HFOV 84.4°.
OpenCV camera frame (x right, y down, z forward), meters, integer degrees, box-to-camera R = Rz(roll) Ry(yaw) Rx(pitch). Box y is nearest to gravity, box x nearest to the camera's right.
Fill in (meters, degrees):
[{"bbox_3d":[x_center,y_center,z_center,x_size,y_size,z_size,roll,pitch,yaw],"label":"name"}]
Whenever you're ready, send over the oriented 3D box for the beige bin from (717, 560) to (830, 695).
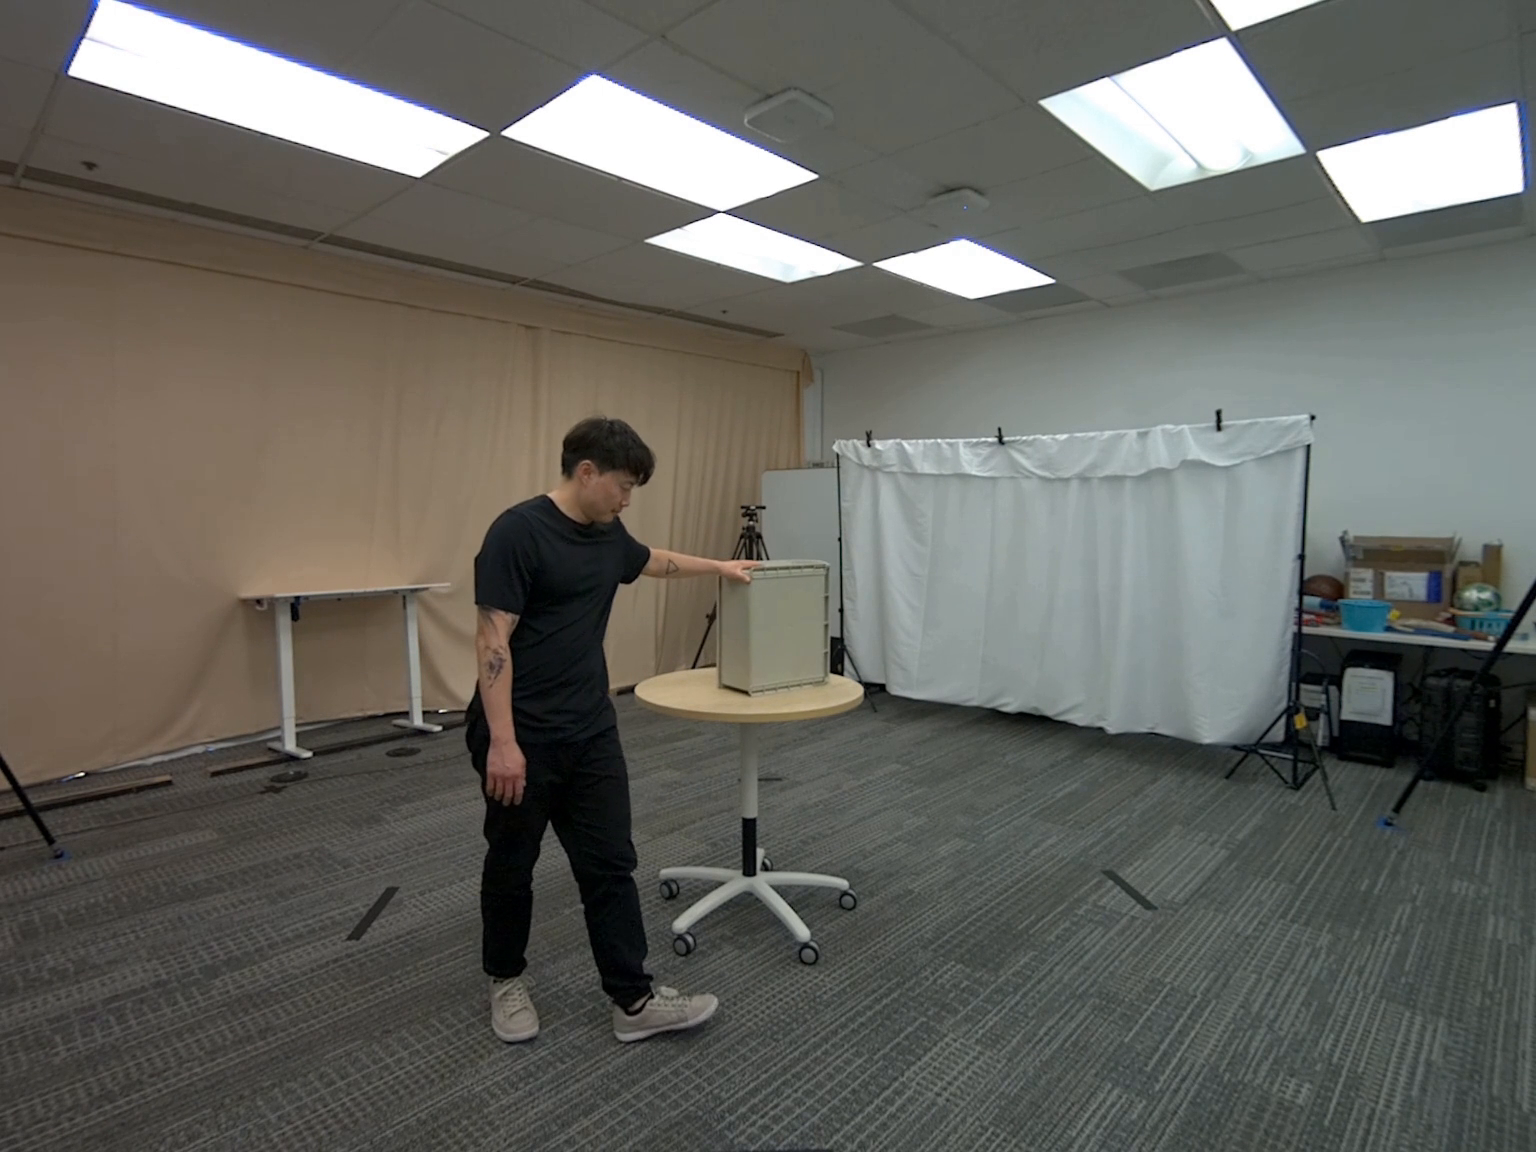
[{"bbox_3d":[0.034,0.164,2.837,0.366,0.421,0.195,-2,5,-37],"label":"beige bin"}]
